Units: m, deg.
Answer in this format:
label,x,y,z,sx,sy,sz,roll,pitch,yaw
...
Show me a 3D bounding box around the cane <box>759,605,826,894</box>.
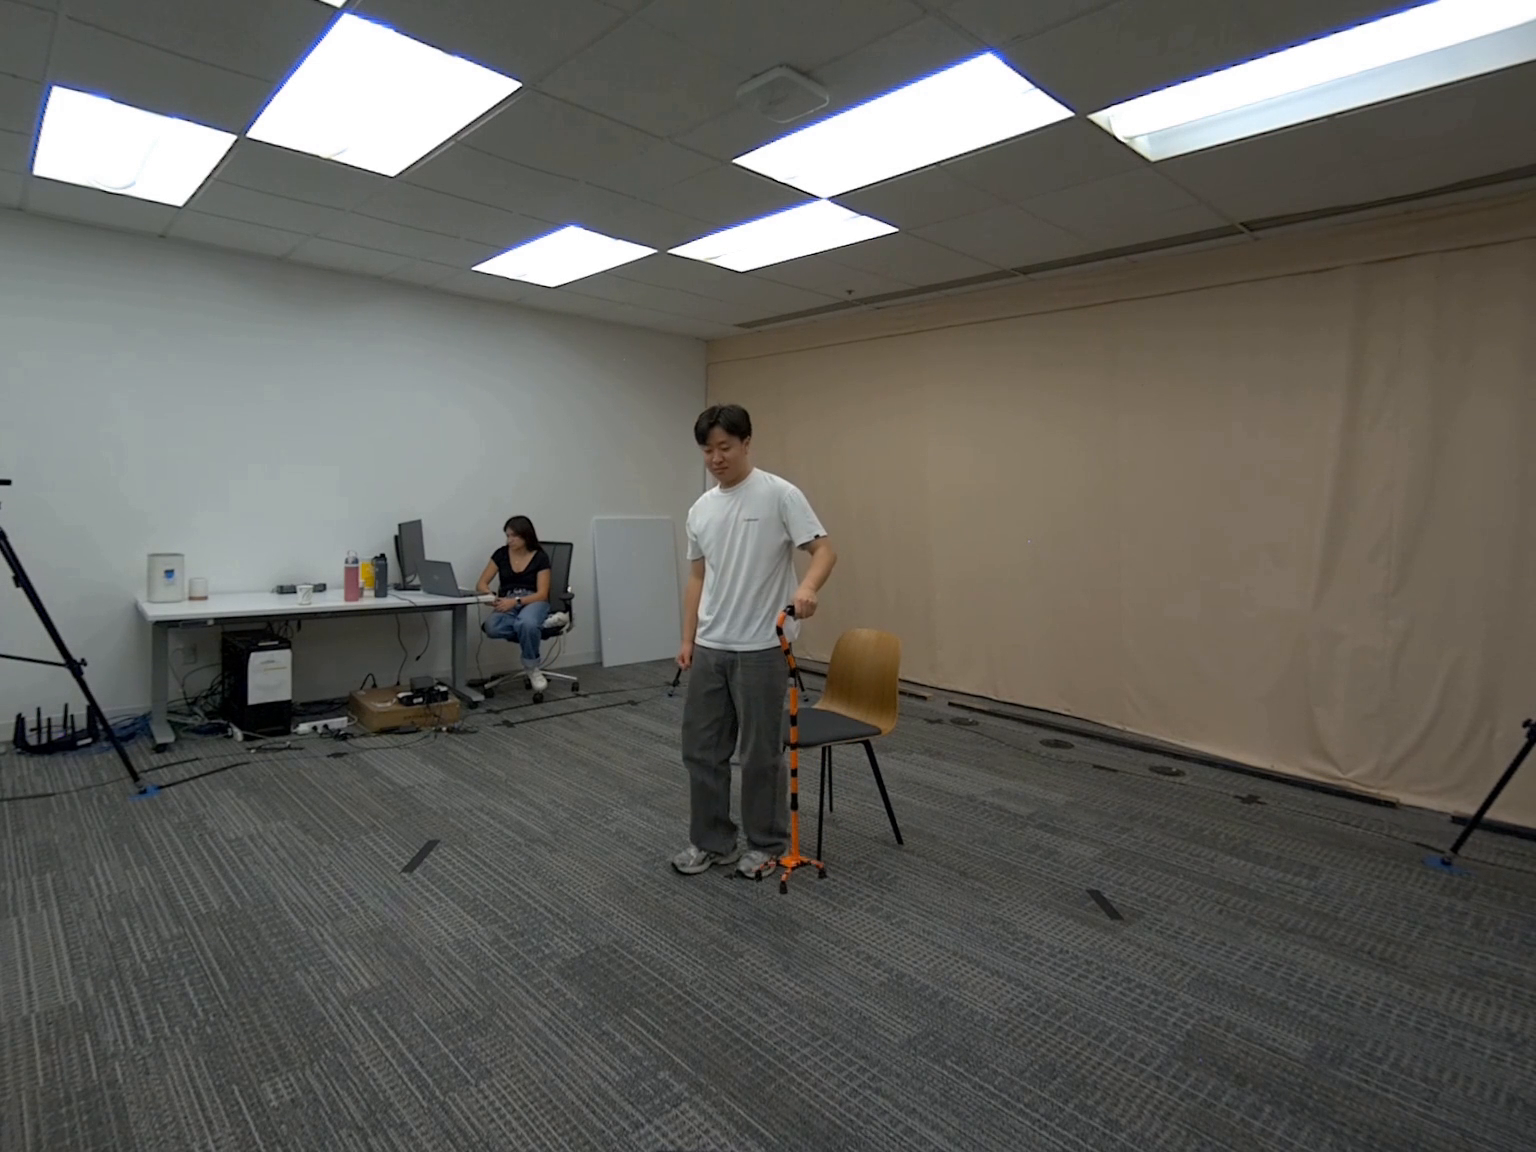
label,x,y,z,sx,sy,sz,roll,pitch,yaw
cane,0.069,0.576,2.768,0.202,0.906,0.155,-3,4,-39
